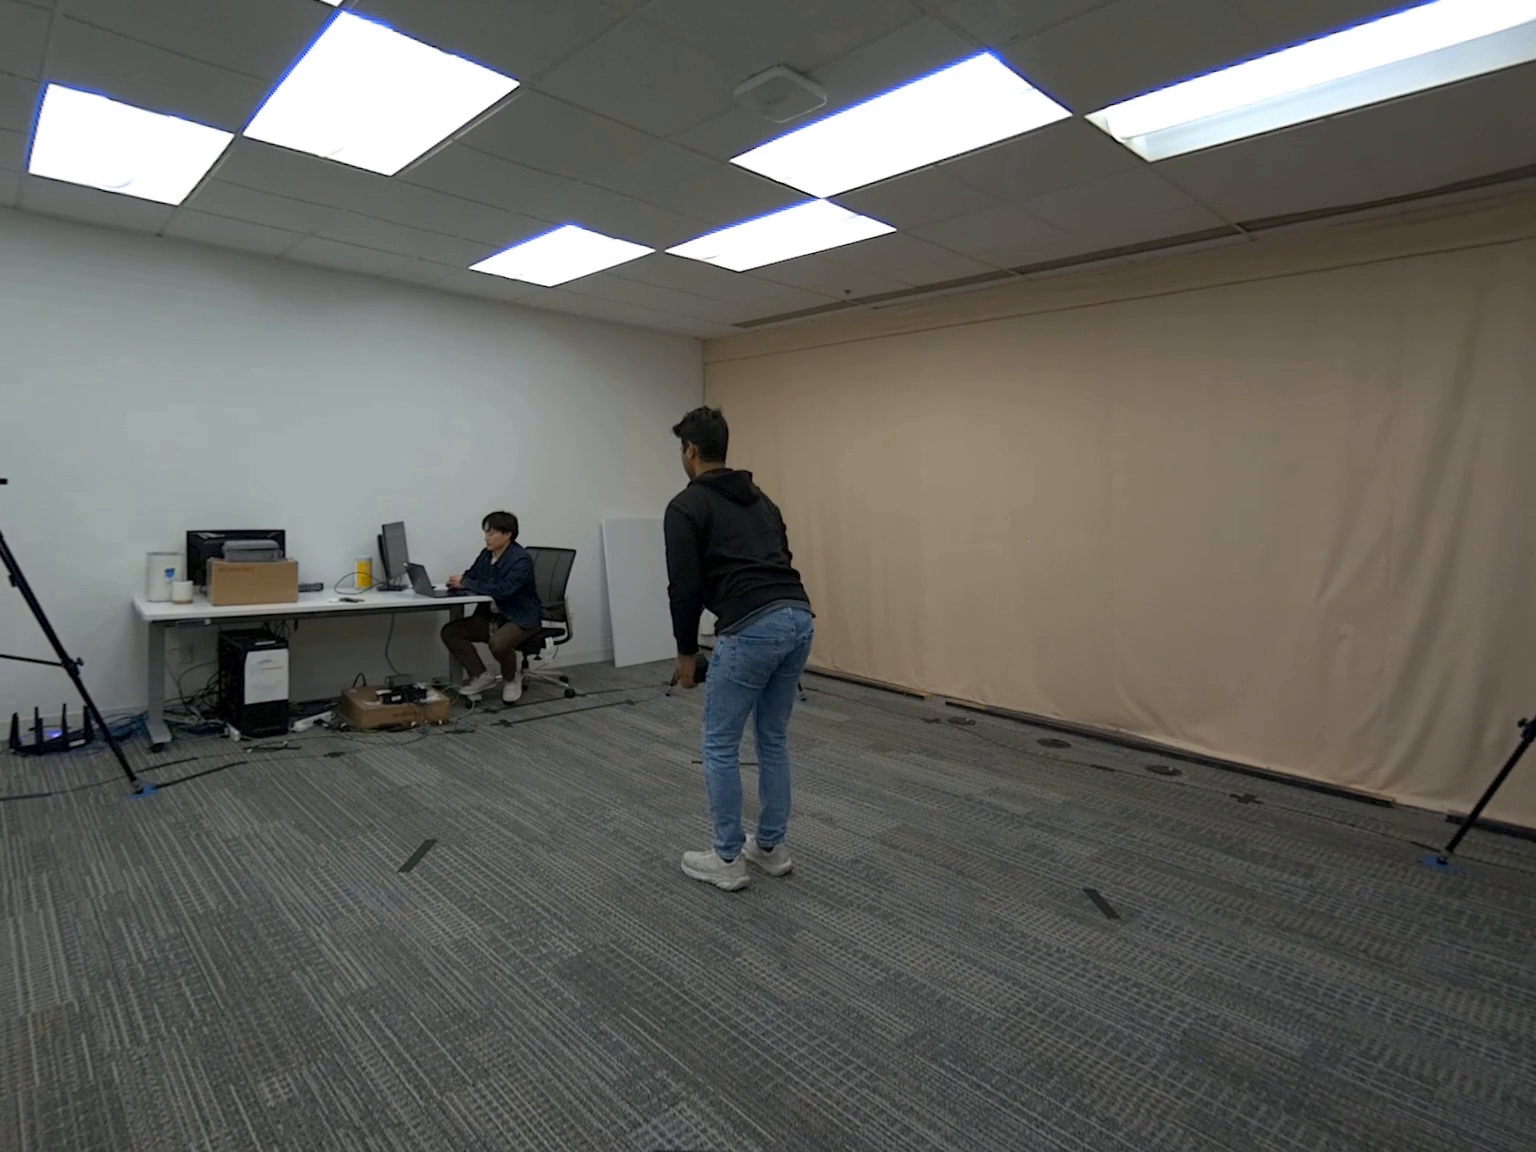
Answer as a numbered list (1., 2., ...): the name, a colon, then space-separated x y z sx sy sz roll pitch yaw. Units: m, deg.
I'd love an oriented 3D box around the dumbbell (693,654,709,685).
1. dumbbell: -0.189 0.359 3.224 0.287 0.108 0.127 -1 43 -38
